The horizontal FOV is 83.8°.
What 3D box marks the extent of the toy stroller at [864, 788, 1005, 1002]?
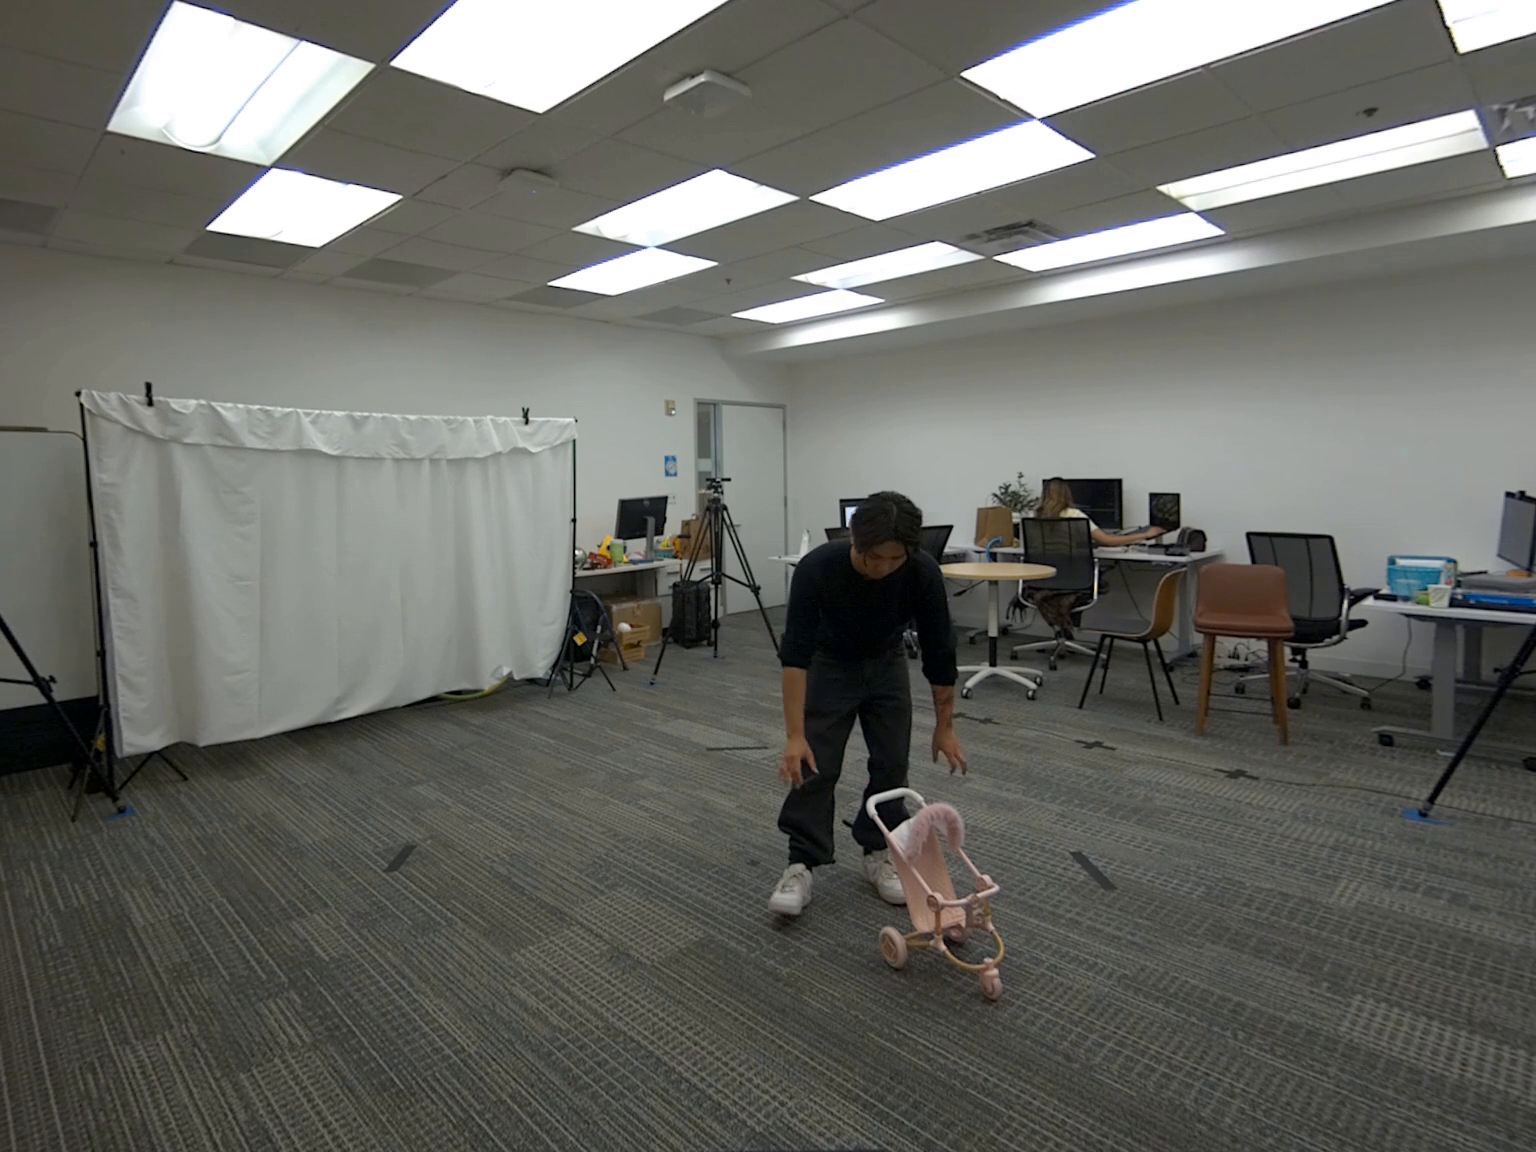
[{"bbox_3d":[0.493,0.891,2.432,0.275,0.541,0.345,-3,-12,-27],"label":"toy stroller"}]
